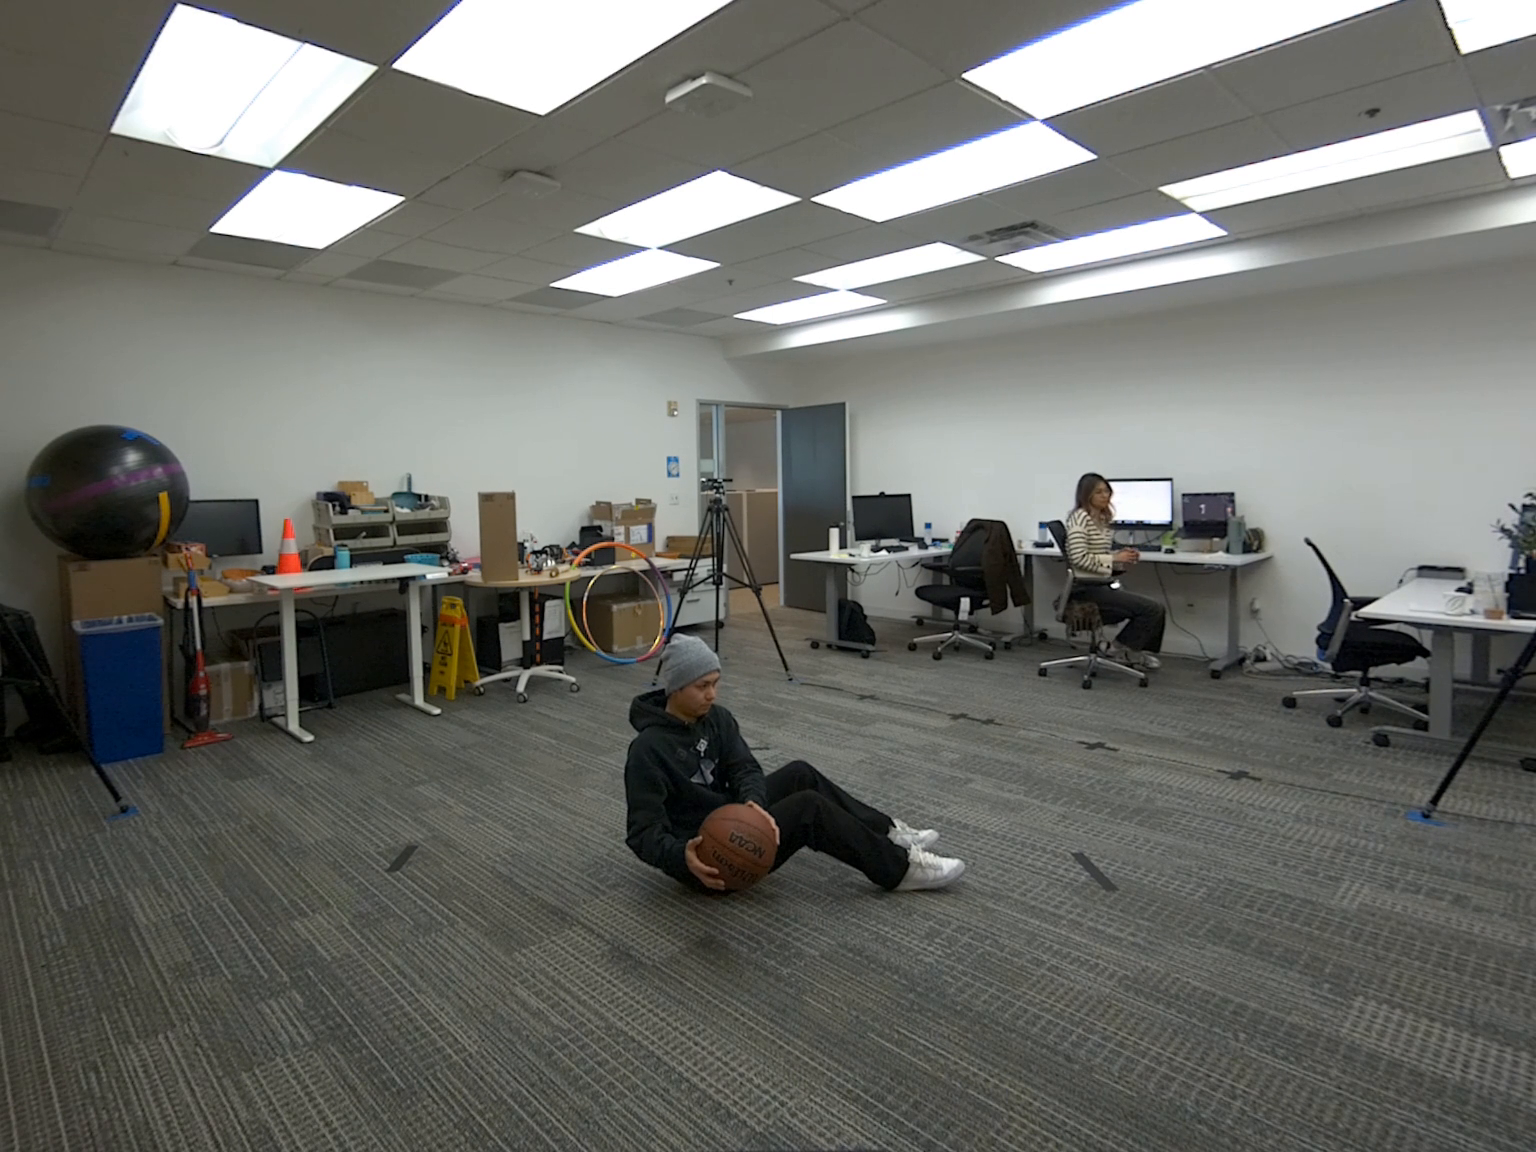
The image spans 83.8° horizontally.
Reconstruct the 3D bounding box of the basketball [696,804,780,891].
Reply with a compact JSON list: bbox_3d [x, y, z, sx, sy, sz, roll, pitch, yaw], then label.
[{"bbox_3d":[-0.088,0.805,2.550,0.236,0.235,0.237,-1,5,-2],"label":"basketball"}]
